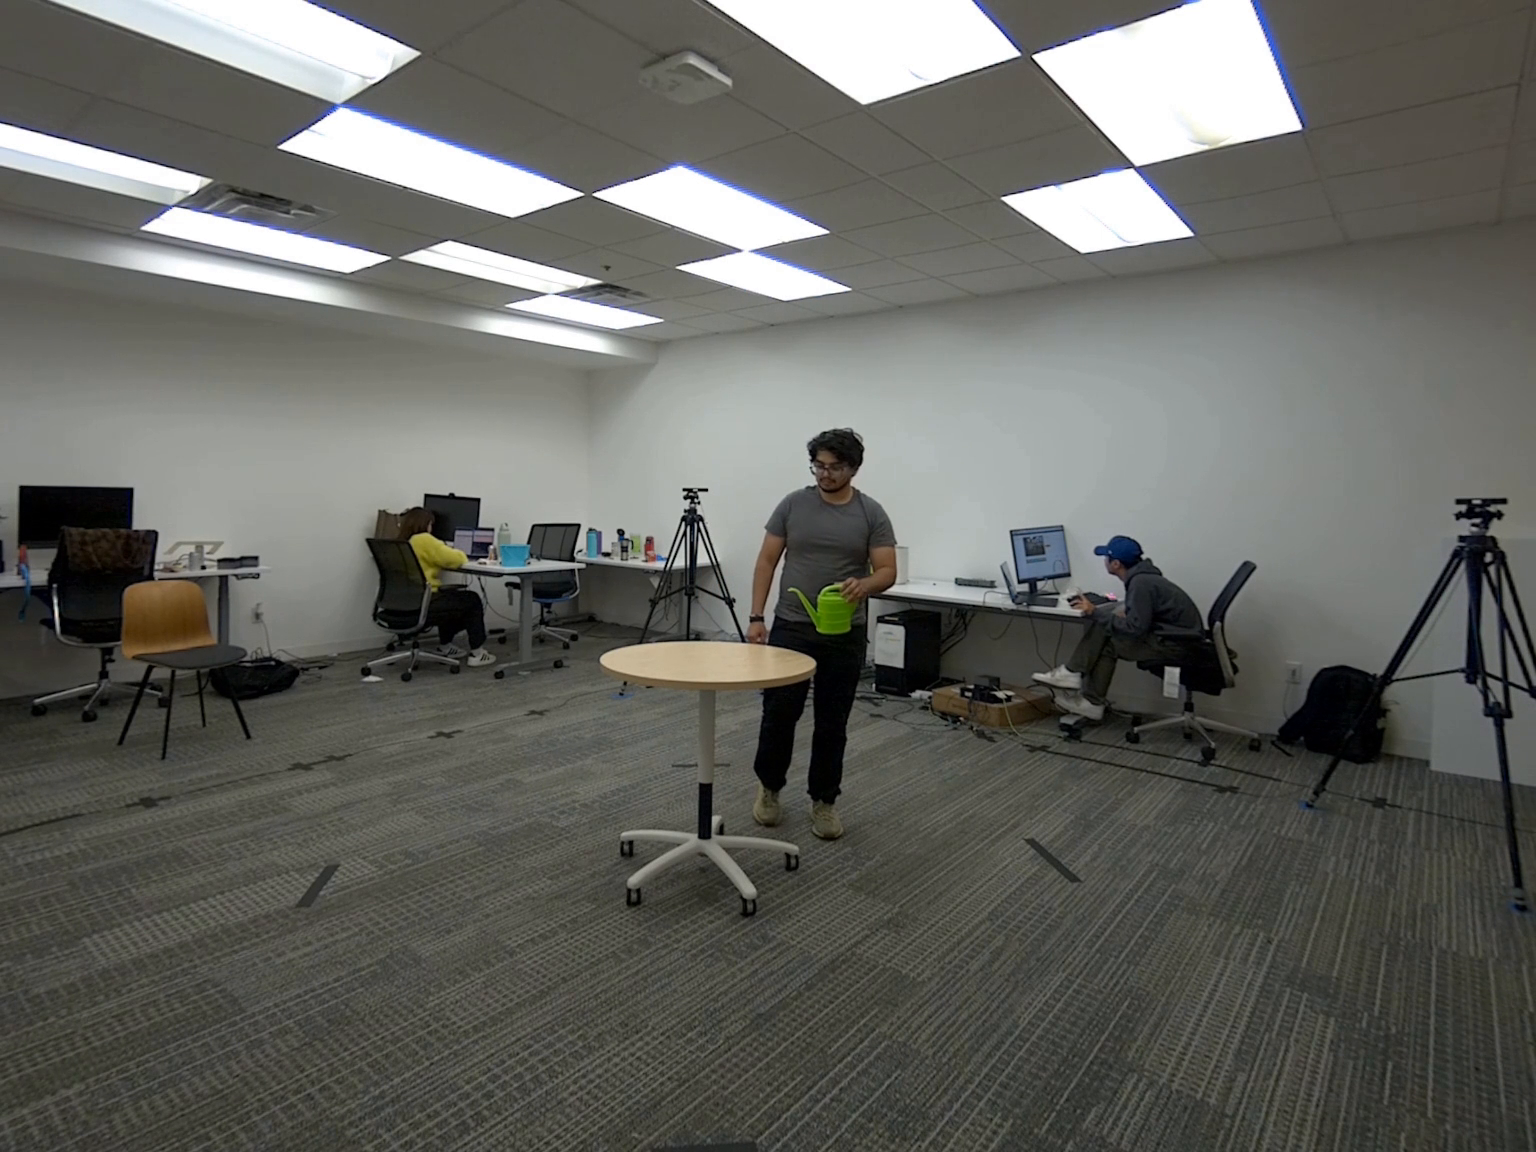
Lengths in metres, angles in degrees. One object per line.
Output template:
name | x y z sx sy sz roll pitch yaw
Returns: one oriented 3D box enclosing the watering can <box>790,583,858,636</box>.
watering can | 0.192 0.117 3.147 0.274 0.175 0.100 1 10 -15
